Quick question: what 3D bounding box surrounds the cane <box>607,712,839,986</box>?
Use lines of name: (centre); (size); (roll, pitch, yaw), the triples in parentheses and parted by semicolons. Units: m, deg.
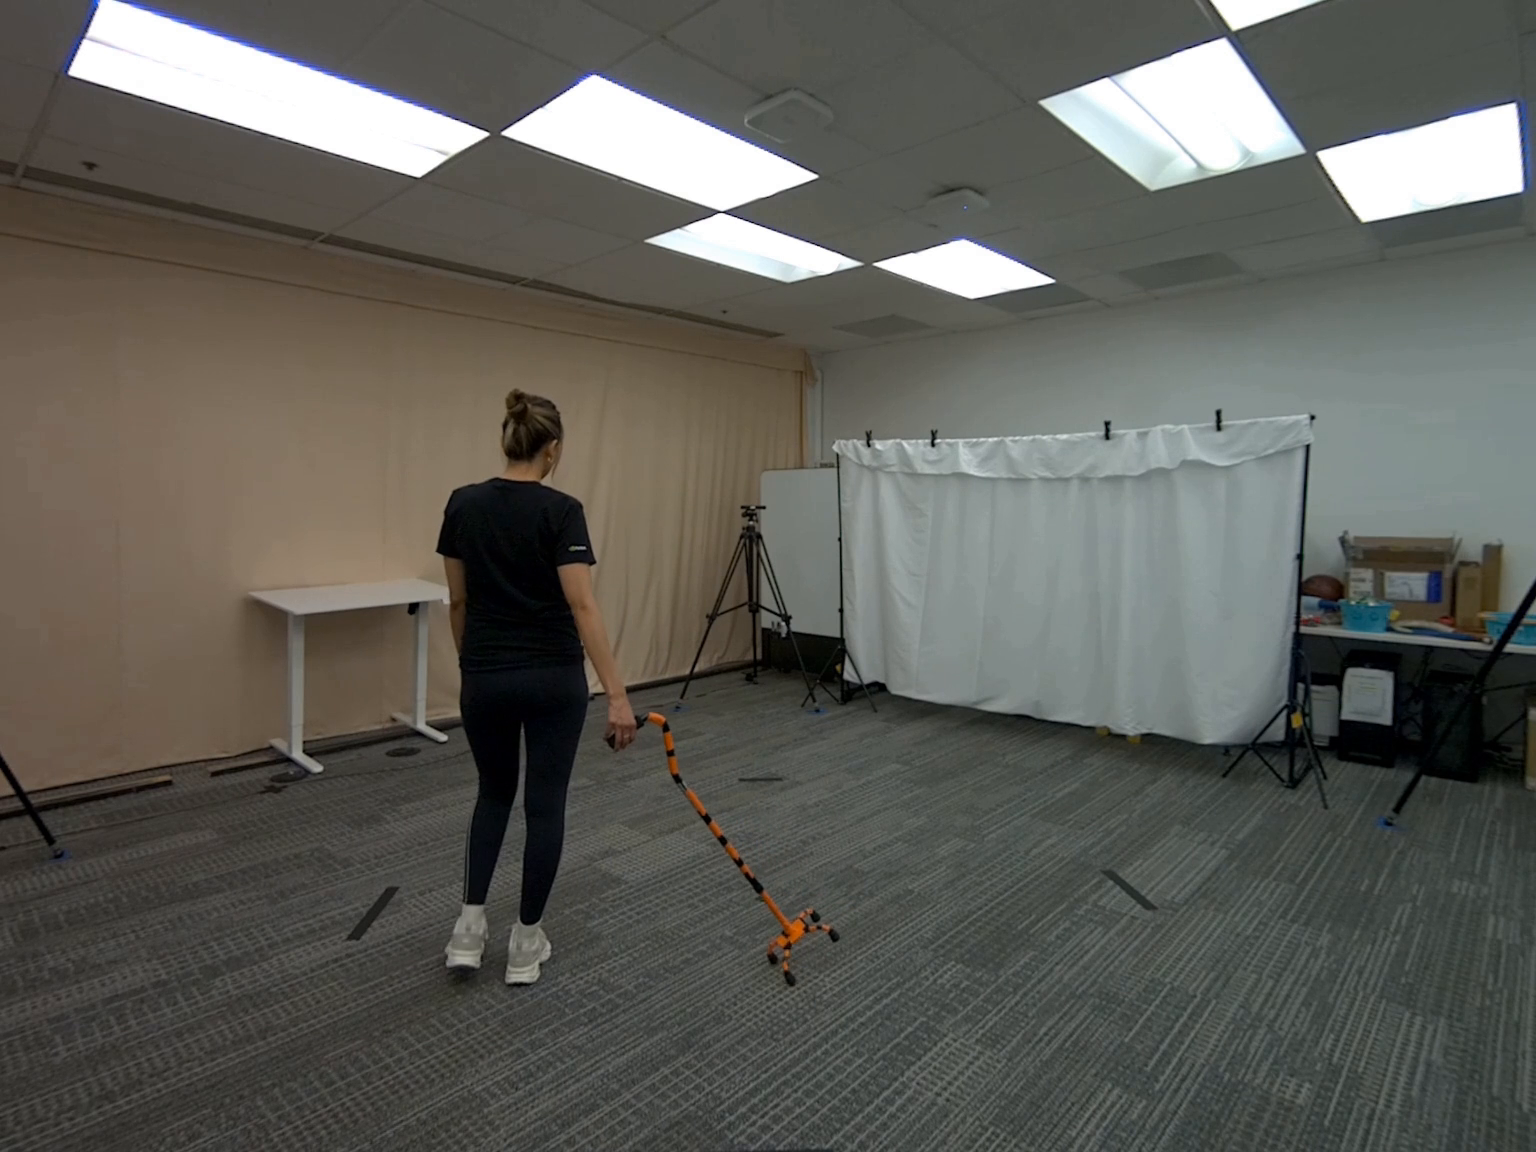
cane: (-0.119, 0.766, 2.420); (0.205, 0.894, 0.155); (-37, 14, -16)
